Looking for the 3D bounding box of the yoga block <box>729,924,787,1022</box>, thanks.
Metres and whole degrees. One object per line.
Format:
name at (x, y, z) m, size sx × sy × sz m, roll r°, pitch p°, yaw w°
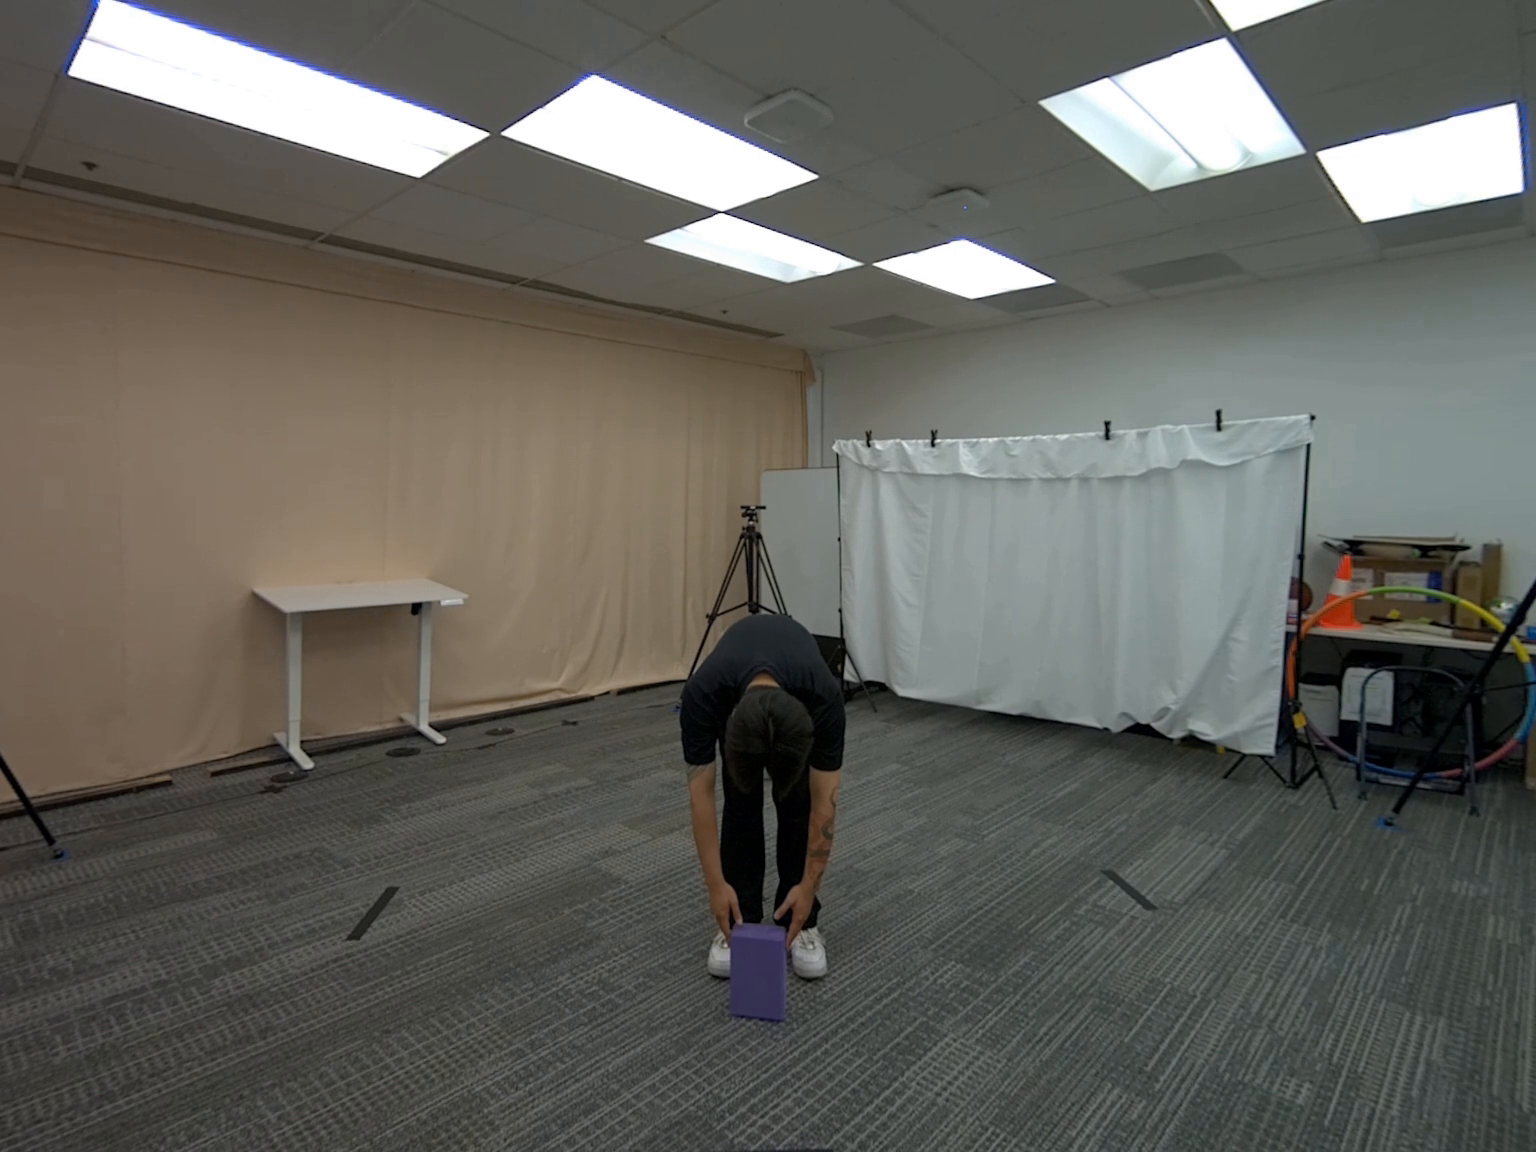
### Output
yoga block at (-0.025, 1.082, 2.312) m, size 0.150 × 0.229 × 0.076 m, roll 0°, pitch 3°, yaw 8°
